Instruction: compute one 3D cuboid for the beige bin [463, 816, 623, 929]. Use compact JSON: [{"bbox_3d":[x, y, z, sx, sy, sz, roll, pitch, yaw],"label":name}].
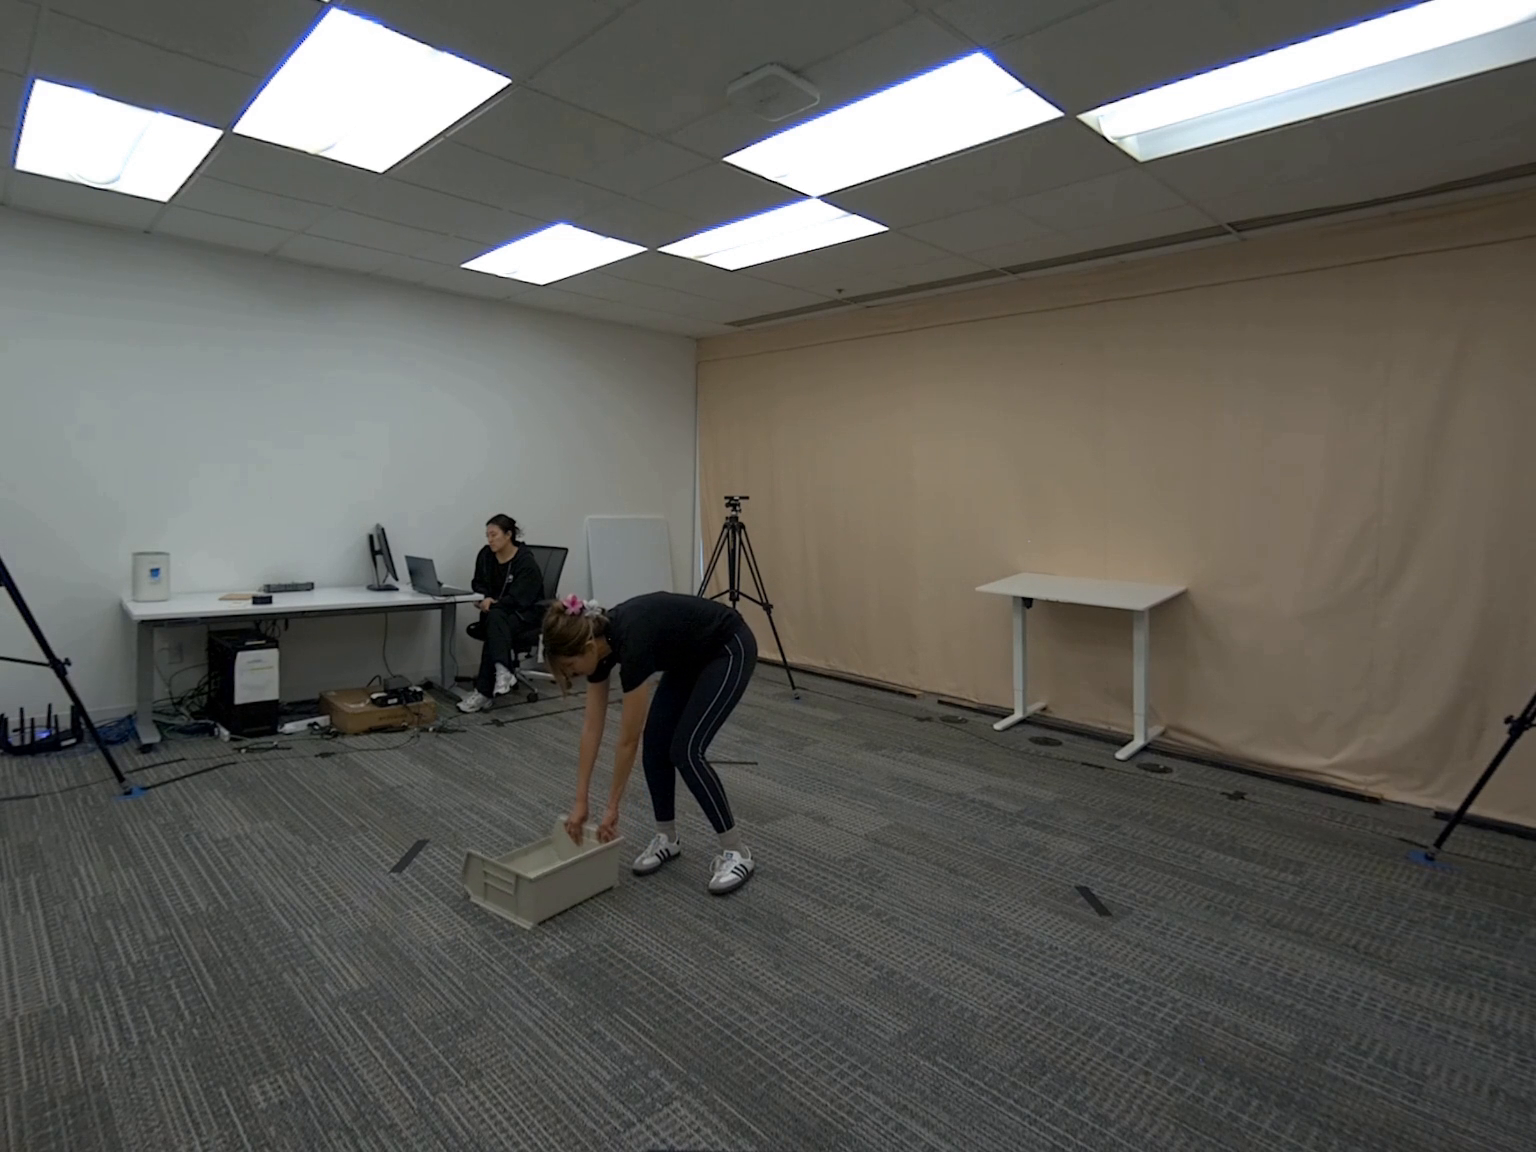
[{"bbox_3d":[-0.786,1.016,2.932,0.387,0.188,0.413,6,6,35],"label":"beige bin"}]
